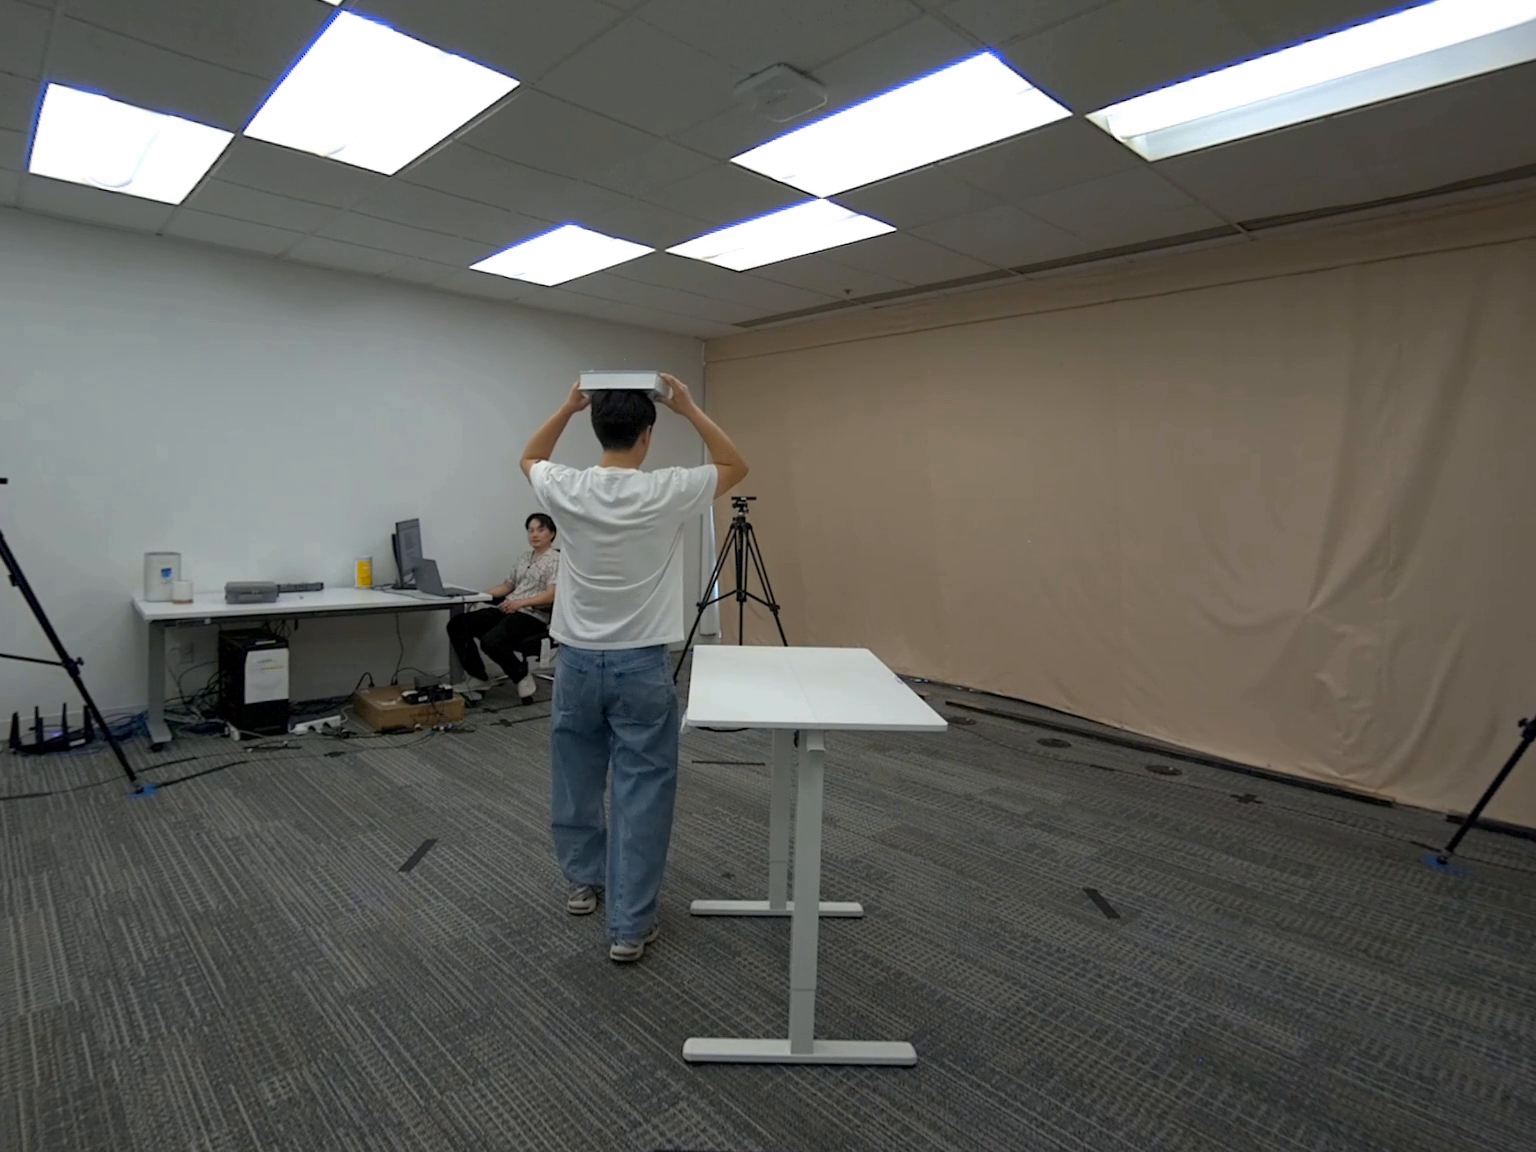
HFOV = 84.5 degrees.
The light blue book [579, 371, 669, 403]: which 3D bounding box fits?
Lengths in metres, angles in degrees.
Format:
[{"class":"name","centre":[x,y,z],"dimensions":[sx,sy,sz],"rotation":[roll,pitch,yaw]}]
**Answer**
[{"class":"light blue book","centre":[-0.468,-0.616,2.737],"dimensions":[0.264,0.059,0.189],"rotation":[2,-1,12]}]
